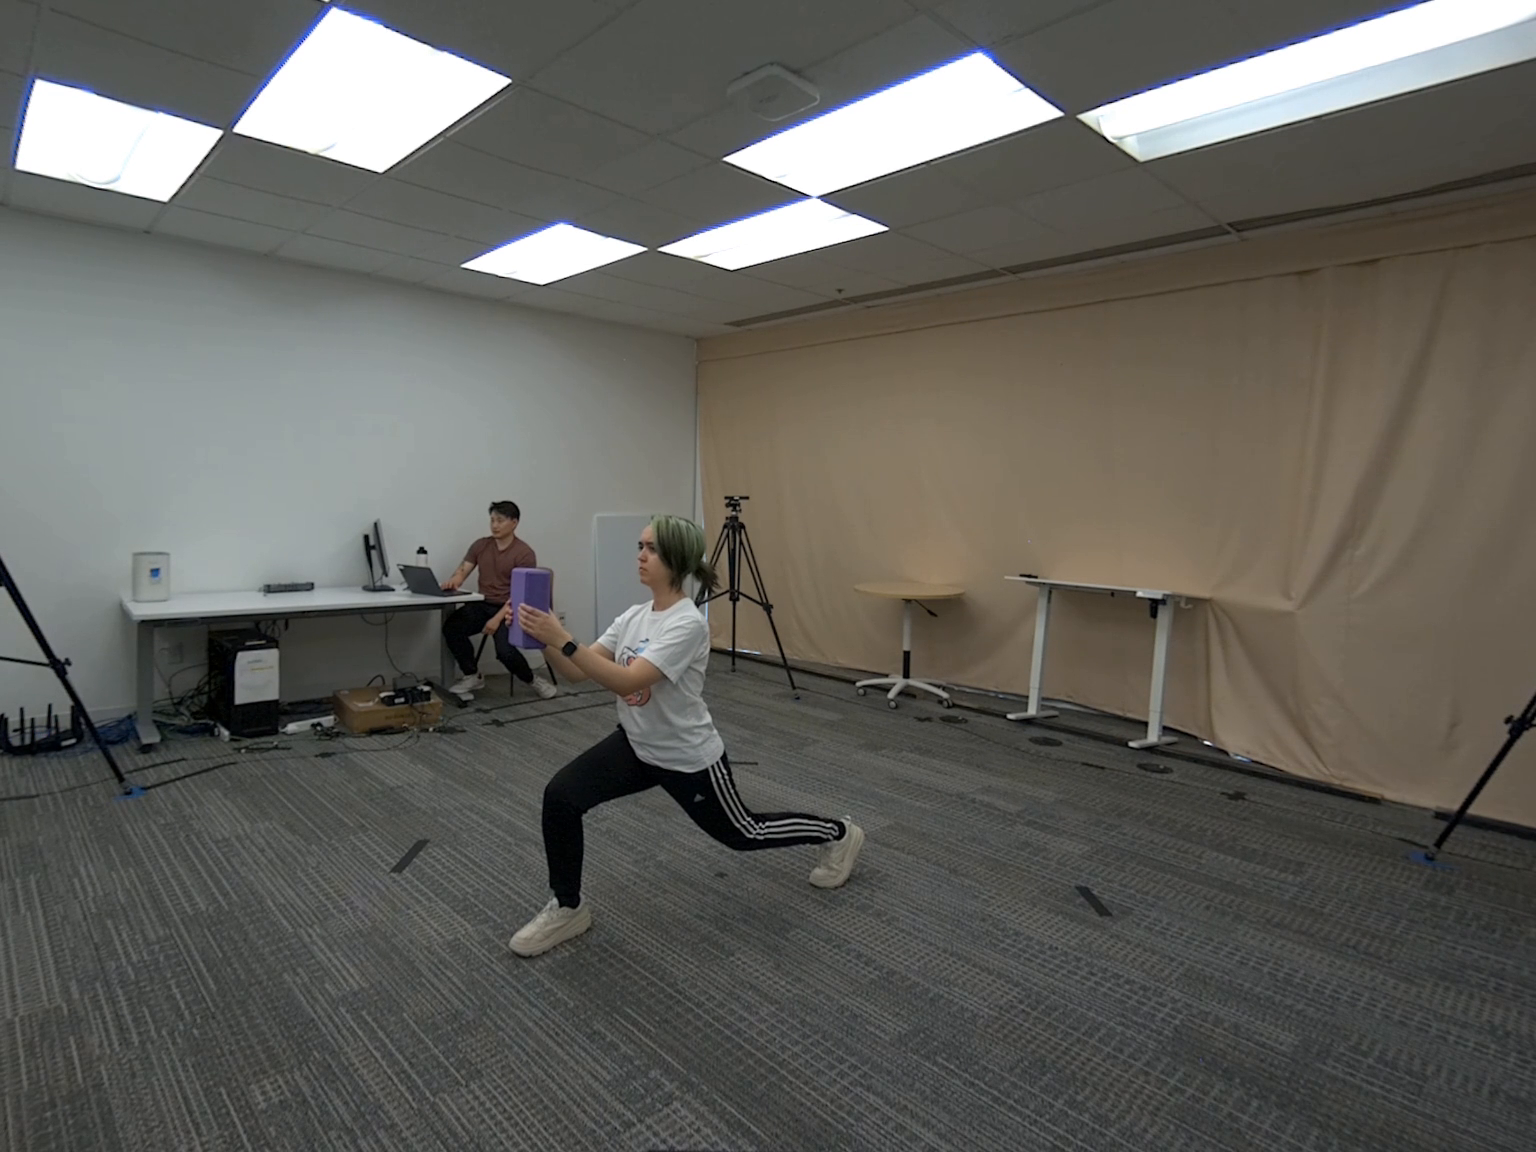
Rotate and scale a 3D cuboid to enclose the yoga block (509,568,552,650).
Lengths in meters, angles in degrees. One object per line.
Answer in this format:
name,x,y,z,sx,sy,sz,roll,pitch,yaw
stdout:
yoga block,-0.715,0.096,2.491,0.075,0.229,0.152,0,0,-33
